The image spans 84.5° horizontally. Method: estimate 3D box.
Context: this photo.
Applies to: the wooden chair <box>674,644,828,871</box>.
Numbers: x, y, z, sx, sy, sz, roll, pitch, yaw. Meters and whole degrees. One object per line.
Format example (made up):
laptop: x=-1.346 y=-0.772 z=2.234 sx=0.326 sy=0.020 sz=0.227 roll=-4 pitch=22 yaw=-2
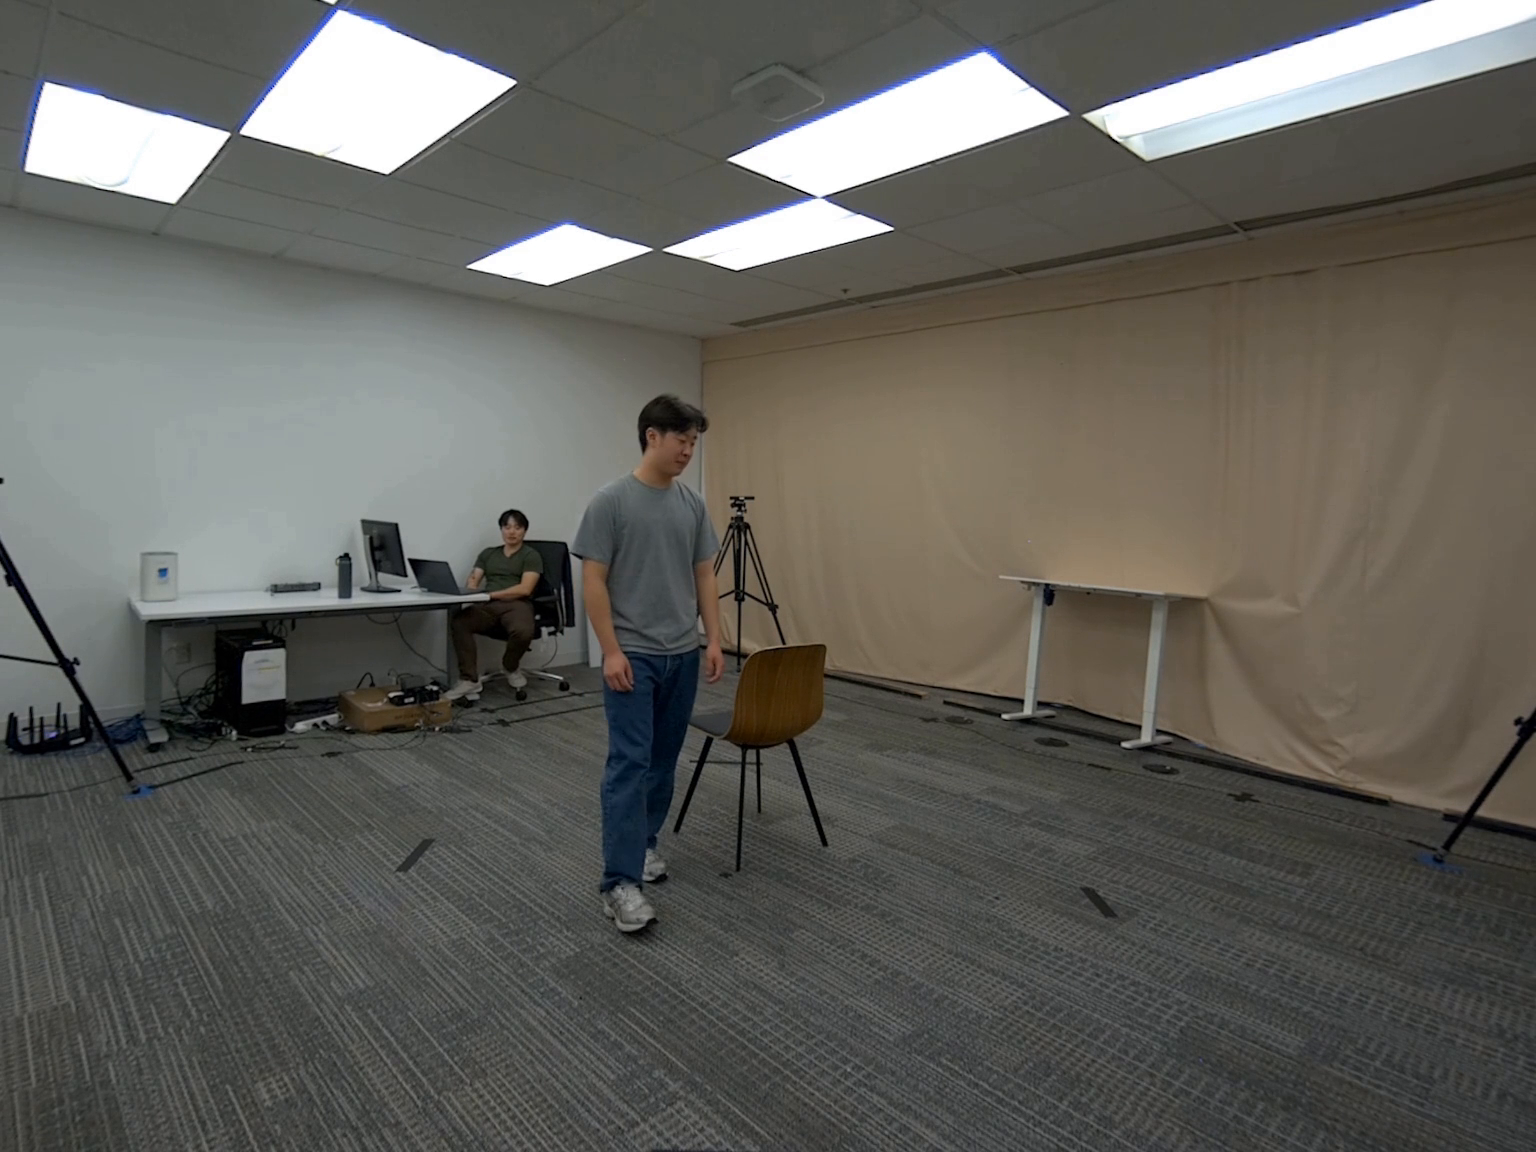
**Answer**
wooden chair: x=-0.074 y=0.651 z=3.419 sx=0.467 sy=0.873 sz=0.537 roll=-1 pitch=8 yaw=-36
